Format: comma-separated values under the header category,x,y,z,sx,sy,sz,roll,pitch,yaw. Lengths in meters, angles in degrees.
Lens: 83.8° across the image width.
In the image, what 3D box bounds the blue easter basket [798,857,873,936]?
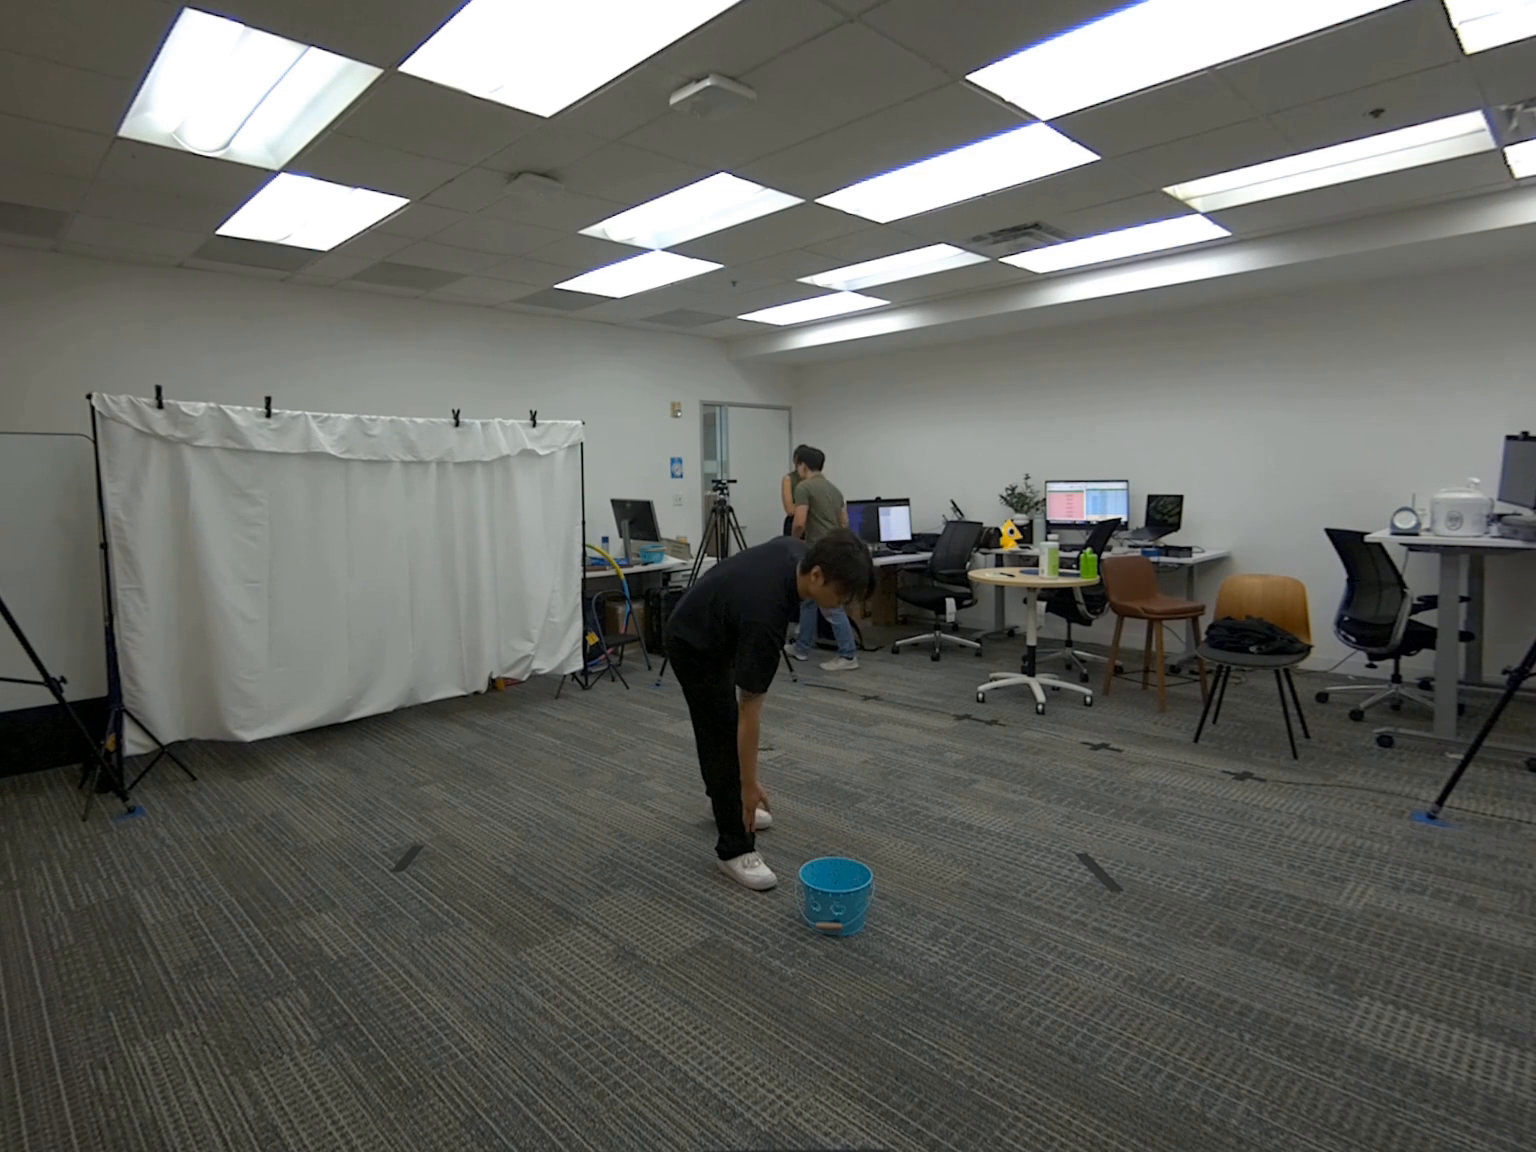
category,x,y,z,sx,sy,sz,roll,pitch,yaw
blue easter basket,0.216,1.014,2.693,0.243,0.155,0.245,-1,5,-2
